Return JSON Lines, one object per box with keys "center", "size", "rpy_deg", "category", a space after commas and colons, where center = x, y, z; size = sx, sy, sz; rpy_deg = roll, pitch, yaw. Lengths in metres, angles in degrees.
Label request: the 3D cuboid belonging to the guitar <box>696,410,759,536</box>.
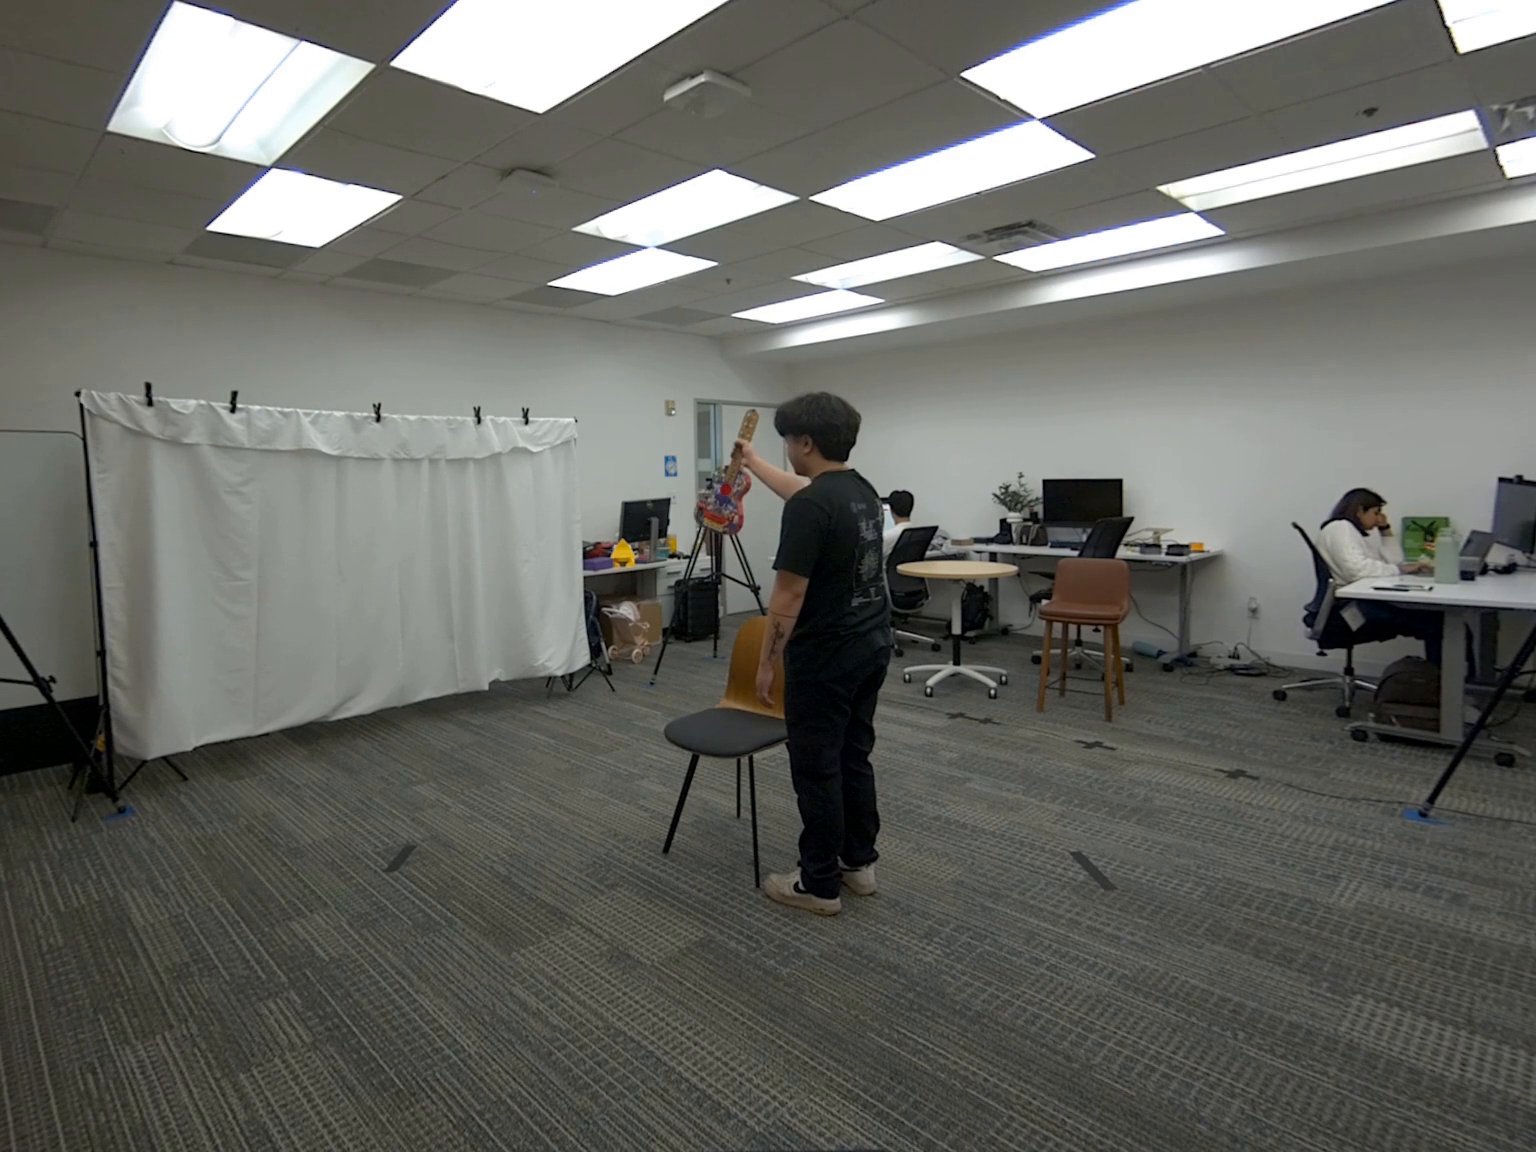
{"center": [-0.108, -0.384, 3.333], "size": [0.197, 0.496, 0.069], "rpy_deg": [29, 7, 17], "category": "guitar"}
